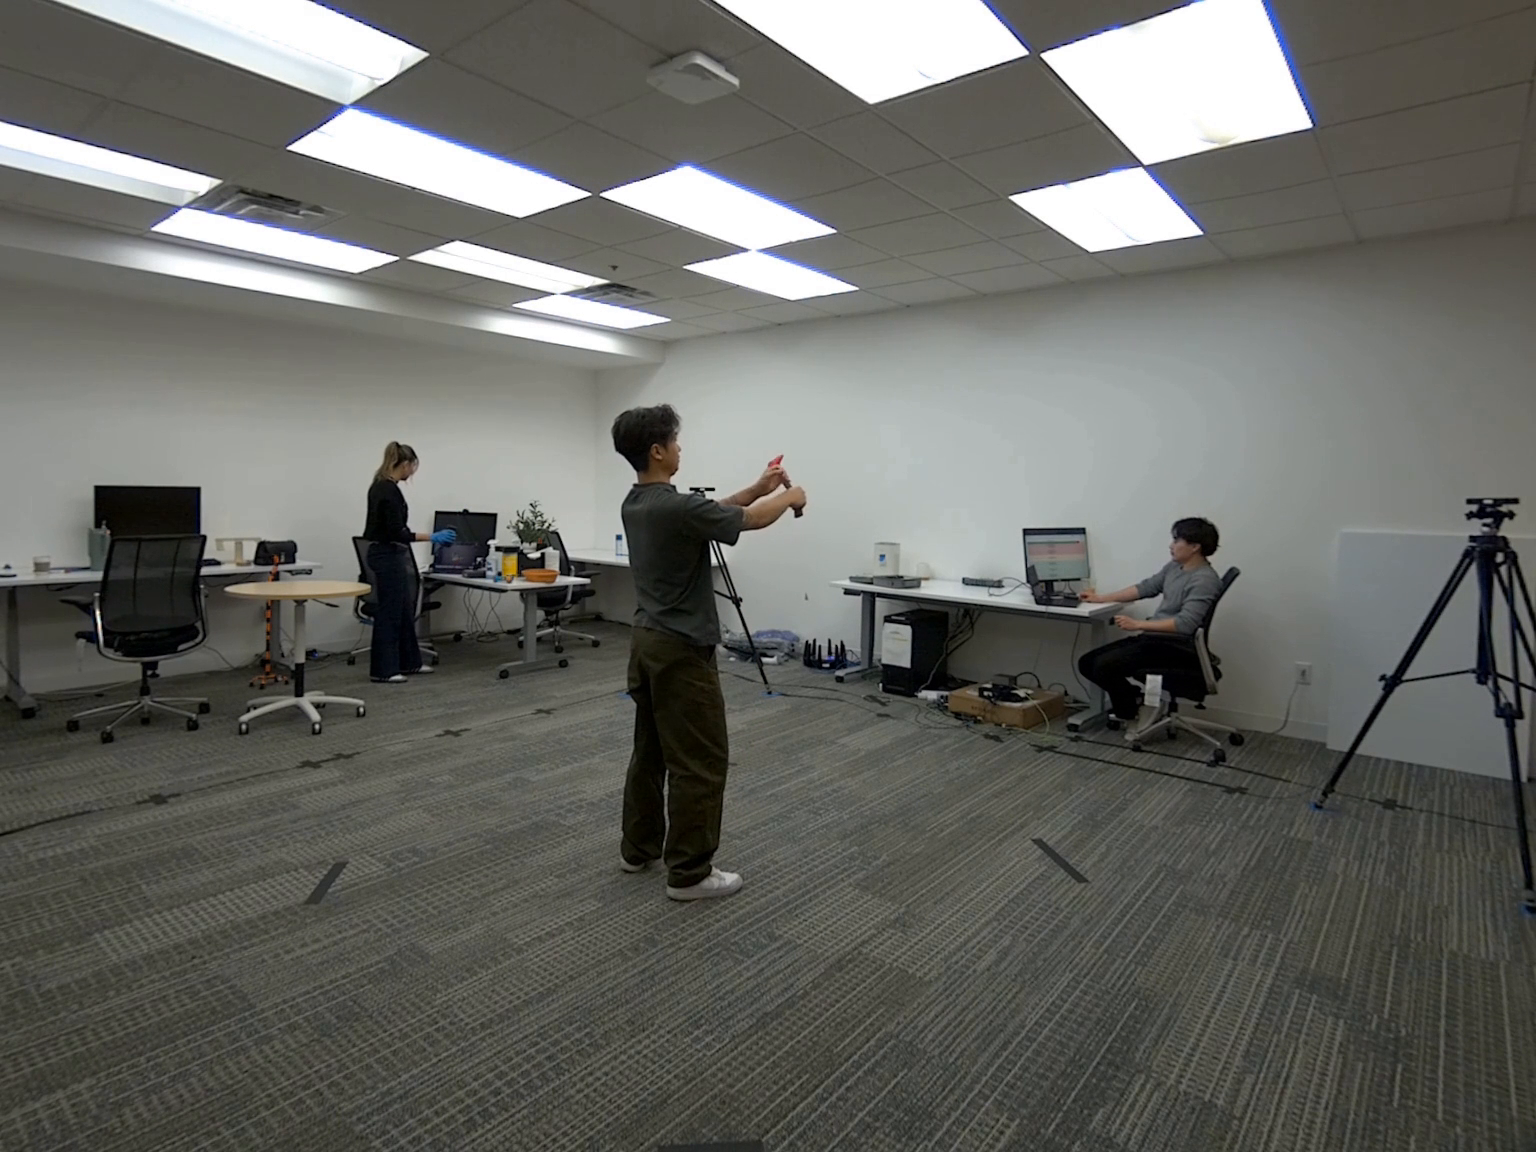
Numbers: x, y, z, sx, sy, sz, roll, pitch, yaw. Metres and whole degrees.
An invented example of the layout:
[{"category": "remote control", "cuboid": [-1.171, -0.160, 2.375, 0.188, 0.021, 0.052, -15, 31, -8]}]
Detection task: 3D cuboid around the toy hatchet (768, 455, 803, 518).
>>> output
[{"category": "toy hatchet", "cuboid": [0.042, -0.330, 3.256, 0.028, 0.277, 0.132, 6, -32, -46]}]
